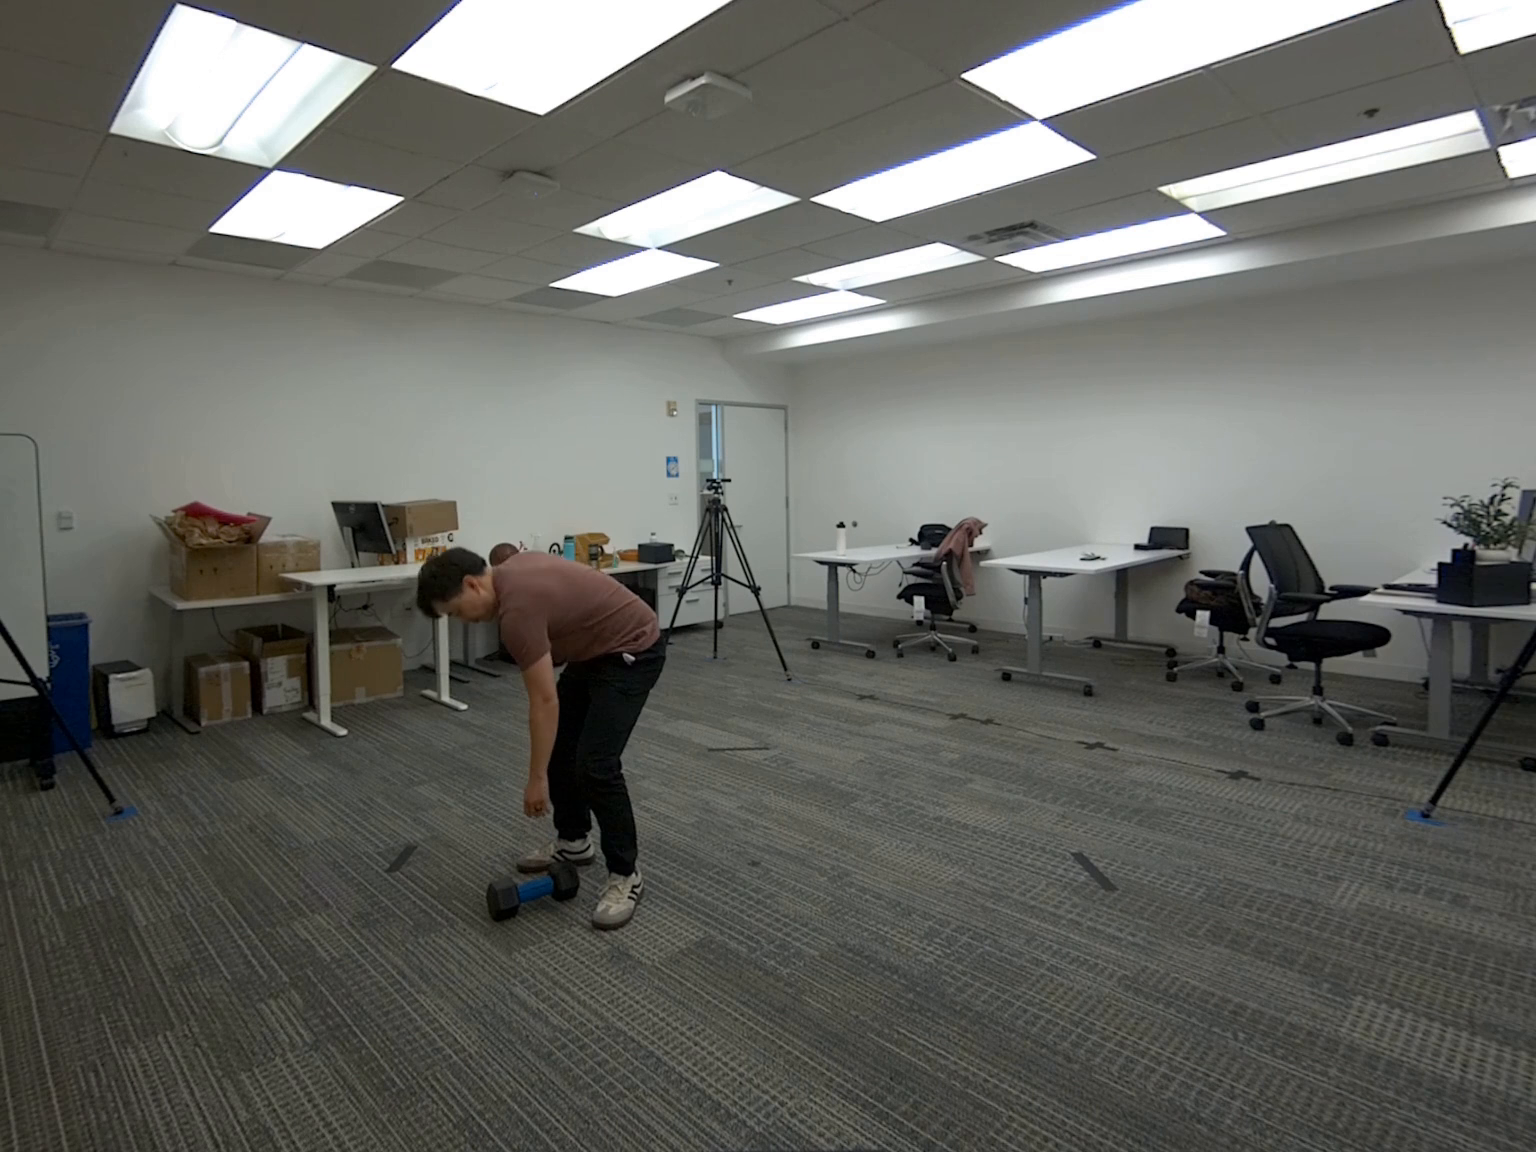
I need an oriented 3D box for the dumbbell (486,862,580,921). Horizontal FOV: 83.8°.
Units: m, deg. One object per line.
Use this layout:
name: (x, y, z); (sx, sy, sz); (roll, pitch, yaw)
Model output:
dumbbell: (-0.774, 1.041, 2.823); (0.286, 0.126, 0.109); (-4, -24, -36)
